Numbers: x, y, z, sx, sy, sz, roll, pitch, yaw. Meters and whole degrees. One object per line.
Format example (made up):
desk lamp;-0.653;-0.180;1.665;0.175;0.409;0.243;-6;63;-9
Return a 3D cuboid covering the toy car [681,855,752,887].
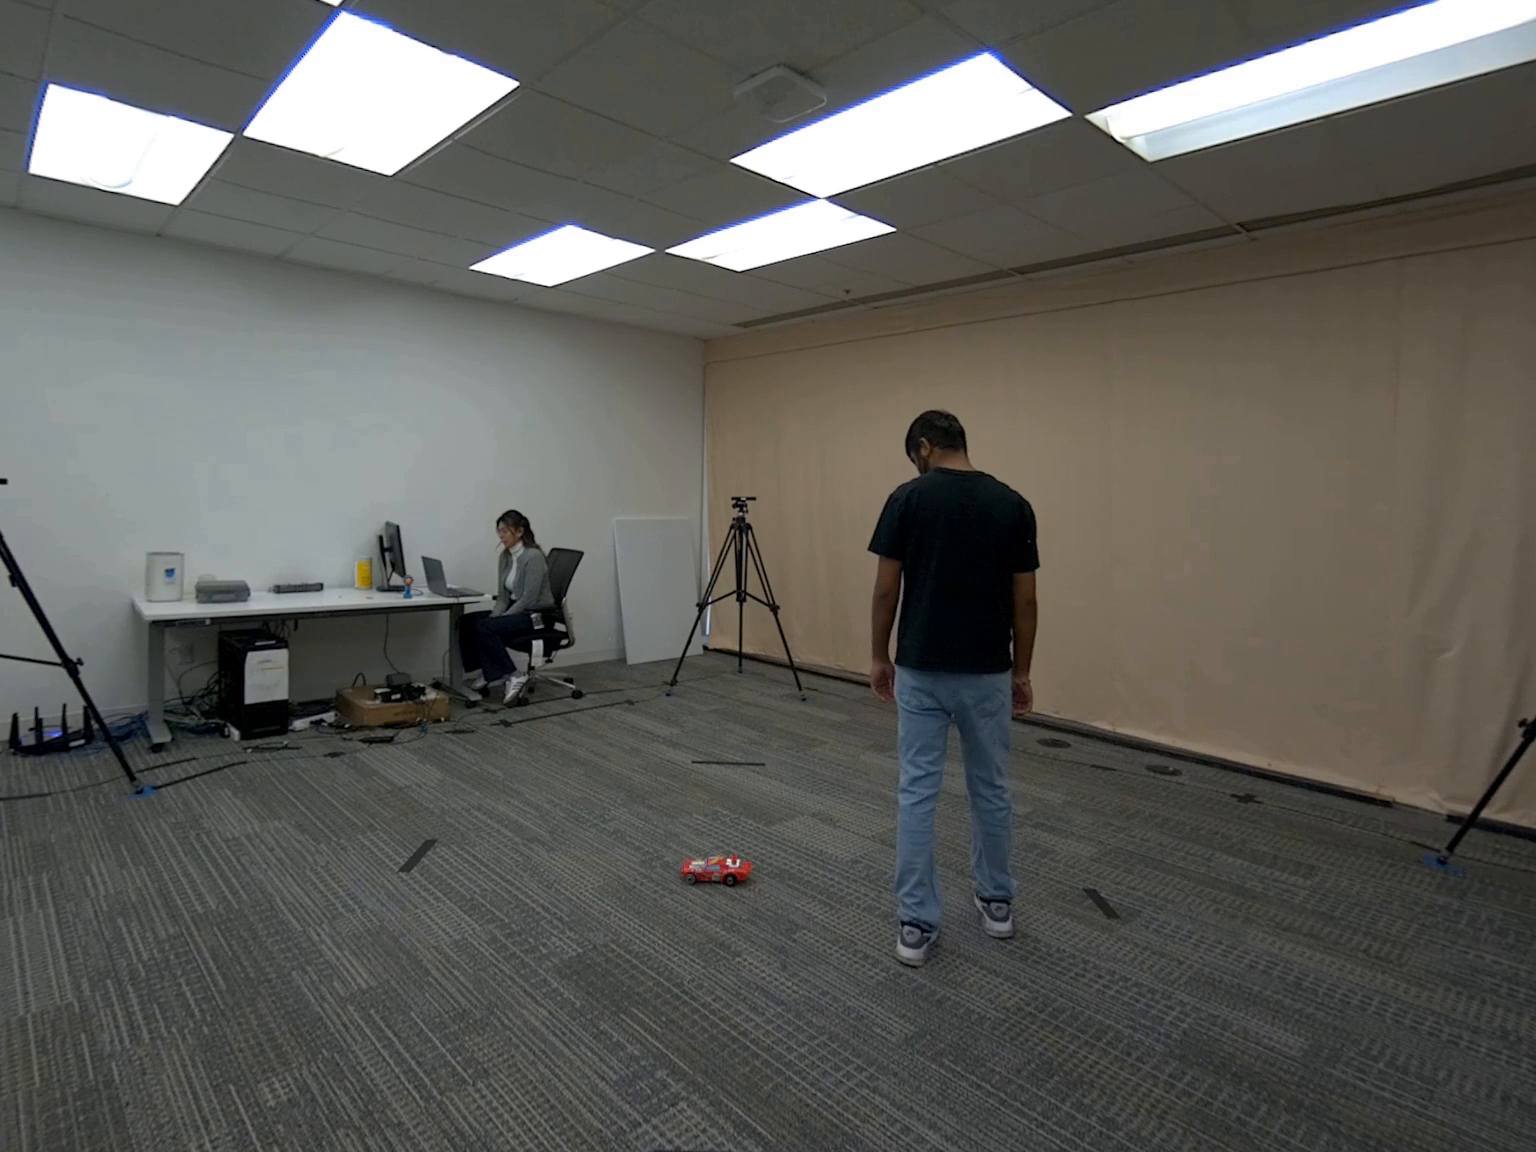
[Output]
toy car;-0.191;1.079;3.074;0.255;0.083;0.130;-9;5;5
